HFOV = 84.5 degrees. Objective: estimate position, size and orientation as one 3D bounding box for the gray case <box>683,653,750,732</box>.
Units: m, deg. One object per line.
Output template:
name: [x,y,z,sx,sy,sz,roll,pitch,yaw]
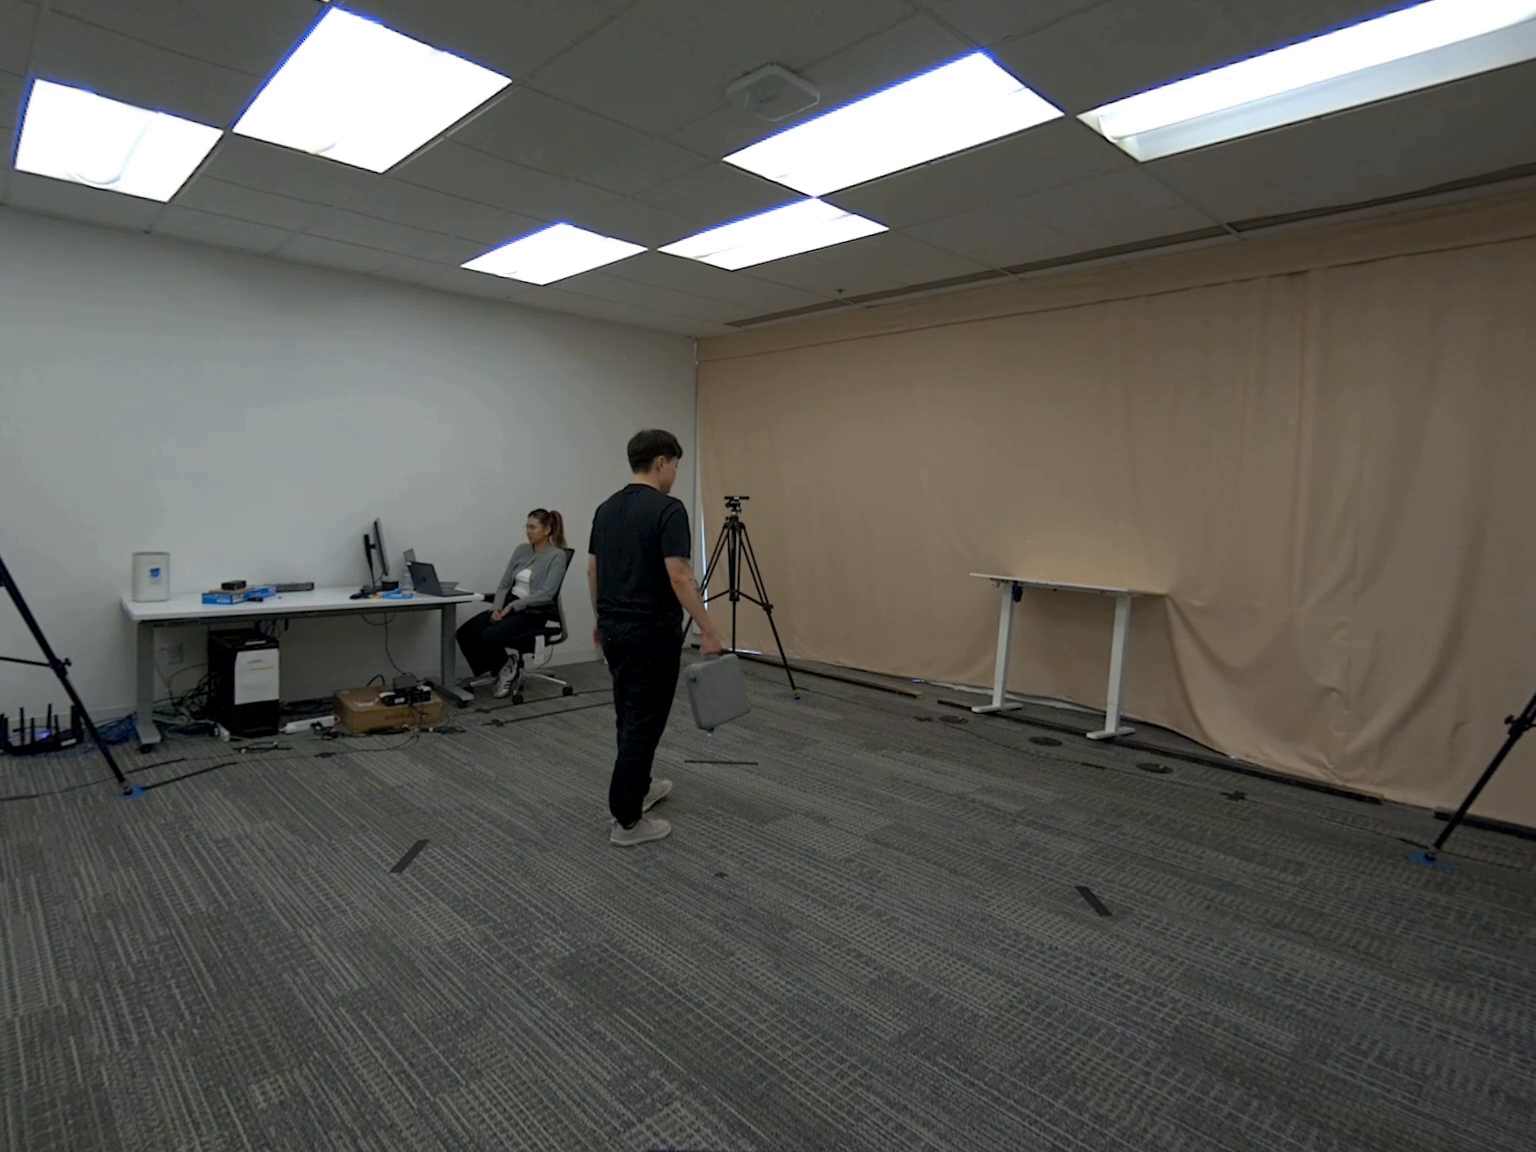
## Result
gray case: [-0.212,0.444,3.308,0.106,0.261,0.252,-13,0,40]
